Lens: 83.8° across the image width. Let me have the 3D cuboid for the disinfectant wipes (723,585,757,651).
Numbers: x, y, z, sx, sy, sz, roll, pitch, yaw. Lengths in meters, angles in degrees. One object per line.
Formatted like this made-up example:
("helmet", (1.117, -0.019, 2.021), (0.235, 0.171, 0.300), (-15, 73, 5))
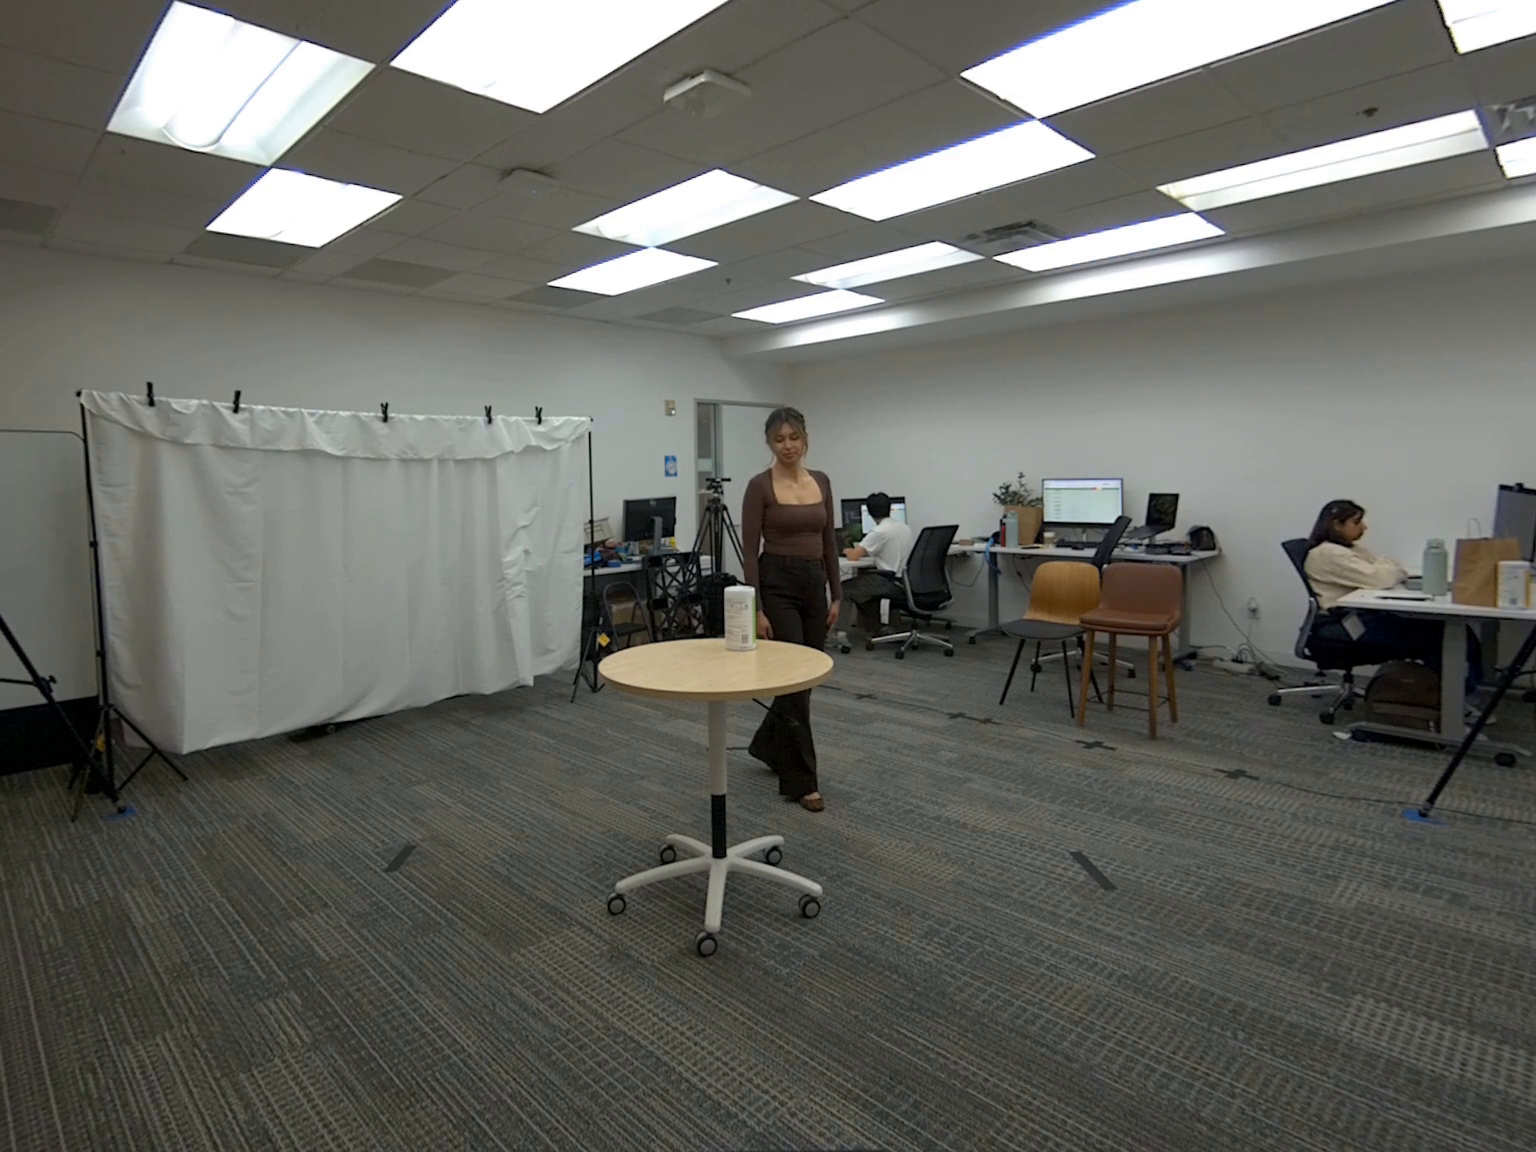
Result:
("disinfectant wipes", (-0.103, 0.149, 2.999), (0.118, 0.217, 0.118), (-1, 3, -2))
